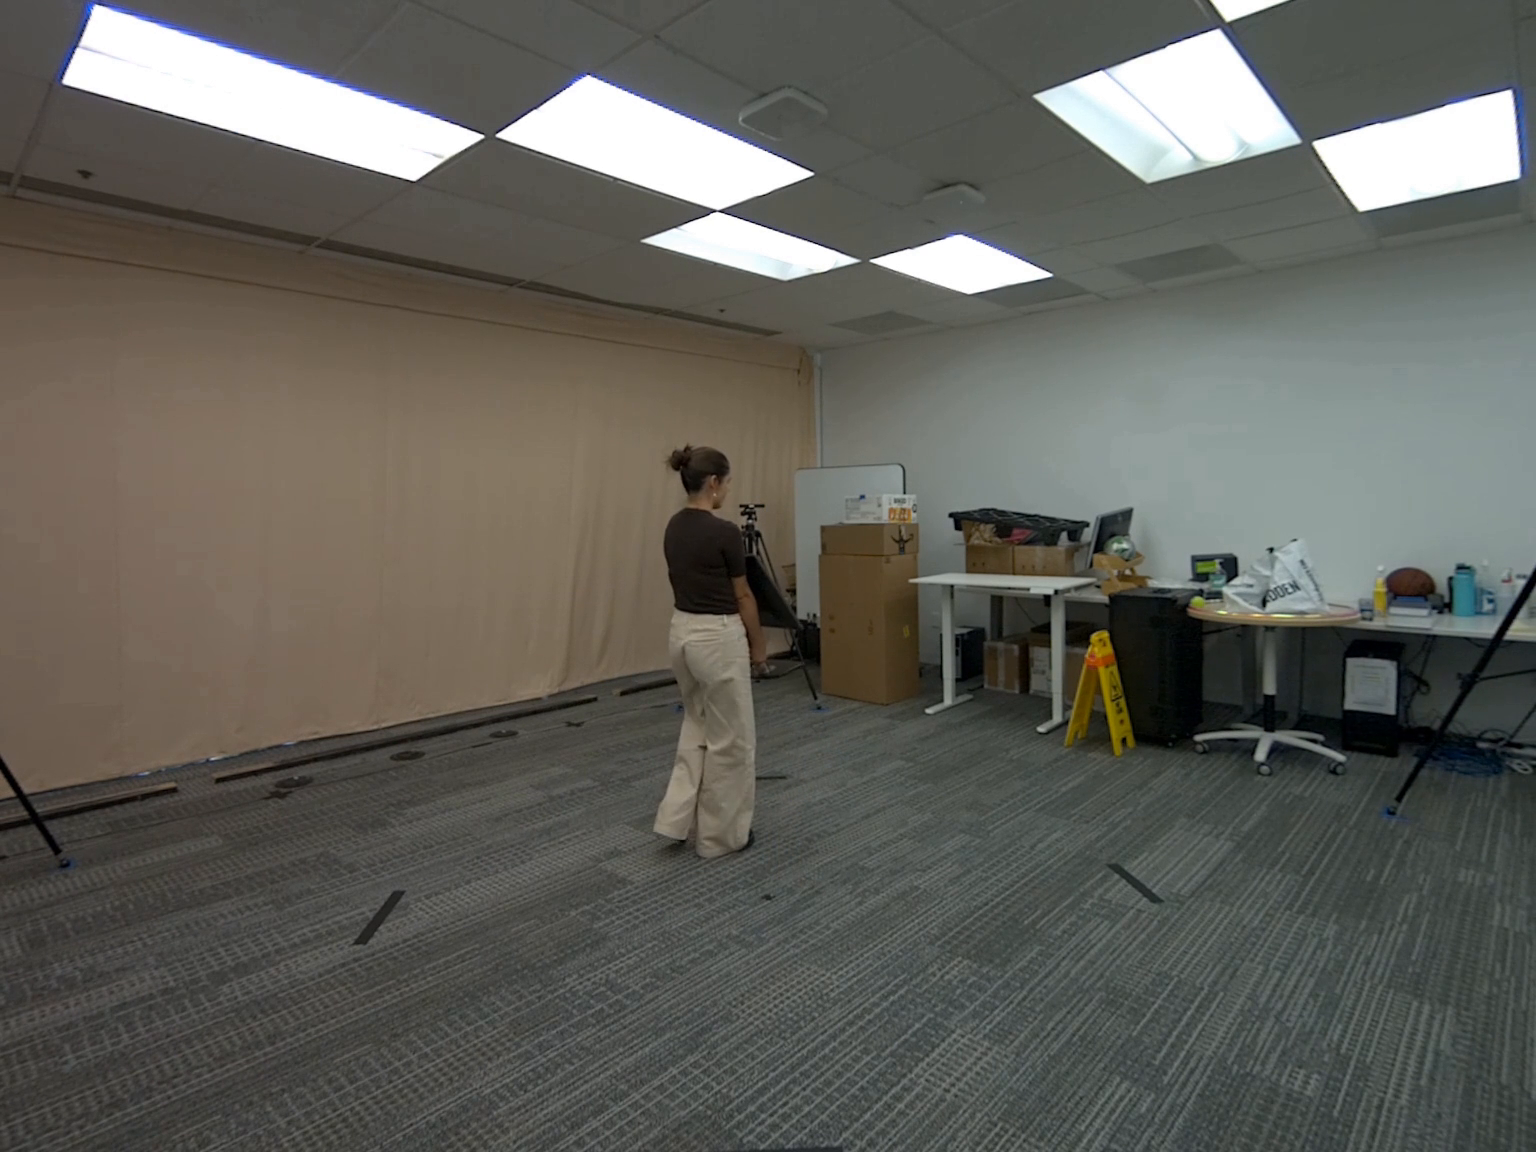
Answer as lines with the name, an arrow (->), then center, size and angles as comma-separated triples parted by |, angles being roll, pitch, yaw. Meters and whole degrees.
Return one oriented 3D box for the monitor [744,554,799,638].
monitor -> -0.065, 0.160, 3.475 | 0.184, 0.519, 0.551 | -22, 7, -23
